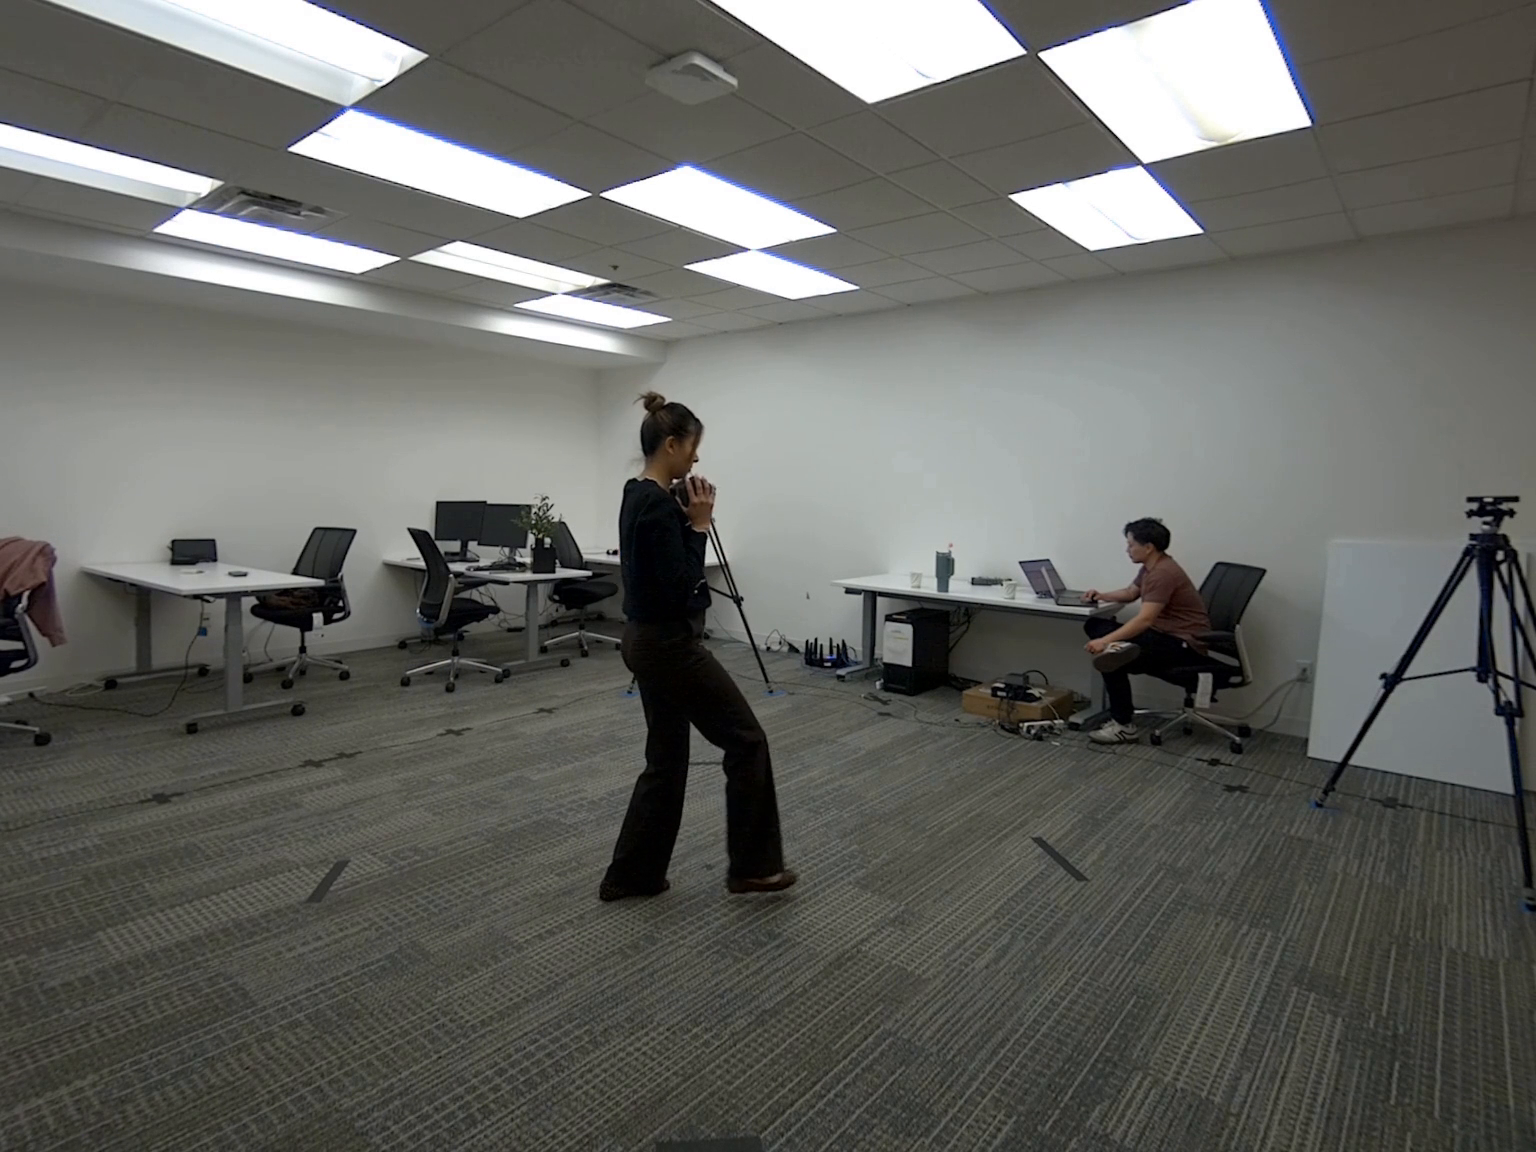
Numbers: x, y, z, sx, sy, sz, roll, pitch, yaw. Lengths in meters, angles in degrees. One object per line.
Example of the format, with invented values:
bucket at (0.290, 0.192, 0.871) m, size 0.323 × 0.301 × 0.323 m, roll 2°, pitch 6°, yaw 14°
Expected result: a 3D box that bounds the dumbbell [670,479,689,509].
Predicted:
dumbbell at (-0.285, -0.265, 2.838) m, size 0.123 × 0.106 × 0.300 m, roll -39°, pitch 16°, yaw -9°
